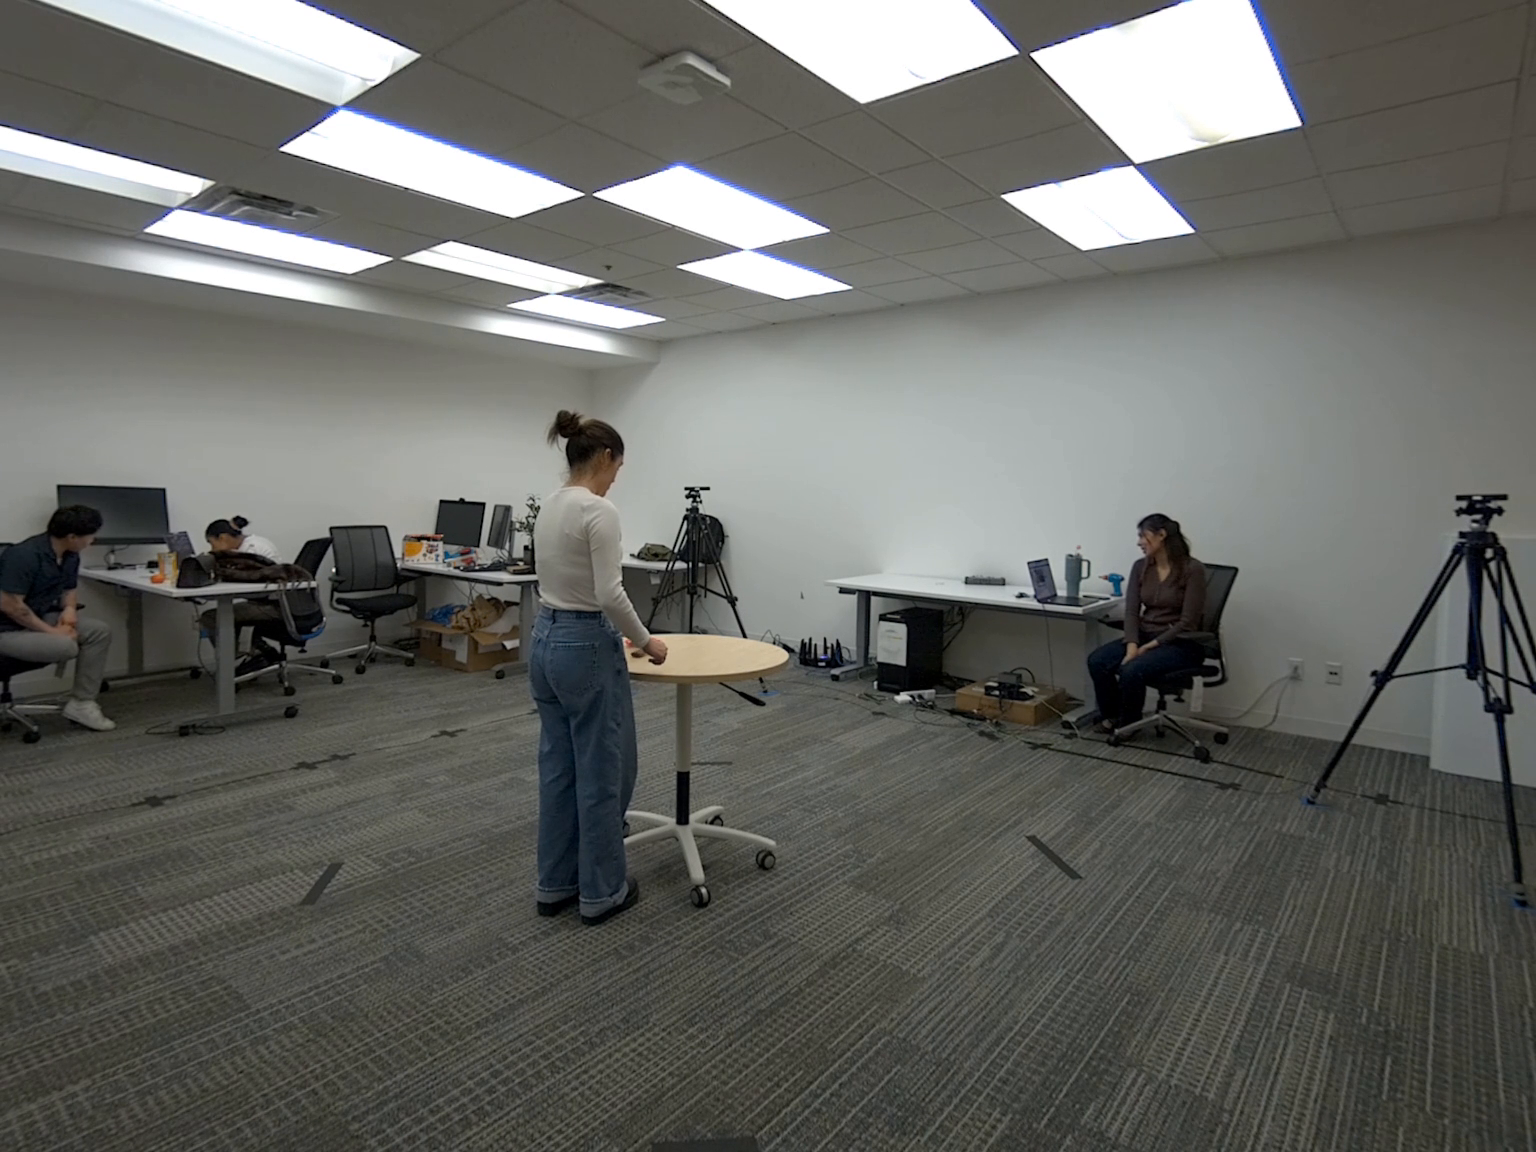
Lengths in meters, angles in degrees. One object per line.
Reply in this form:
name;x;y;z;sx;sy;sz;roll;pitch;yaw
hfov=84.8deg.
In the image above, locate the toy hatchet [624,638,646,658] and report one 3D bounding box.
toy hatchet;-0.507;0.258;3.152;0.133;0.029;0.268;4;7;10
